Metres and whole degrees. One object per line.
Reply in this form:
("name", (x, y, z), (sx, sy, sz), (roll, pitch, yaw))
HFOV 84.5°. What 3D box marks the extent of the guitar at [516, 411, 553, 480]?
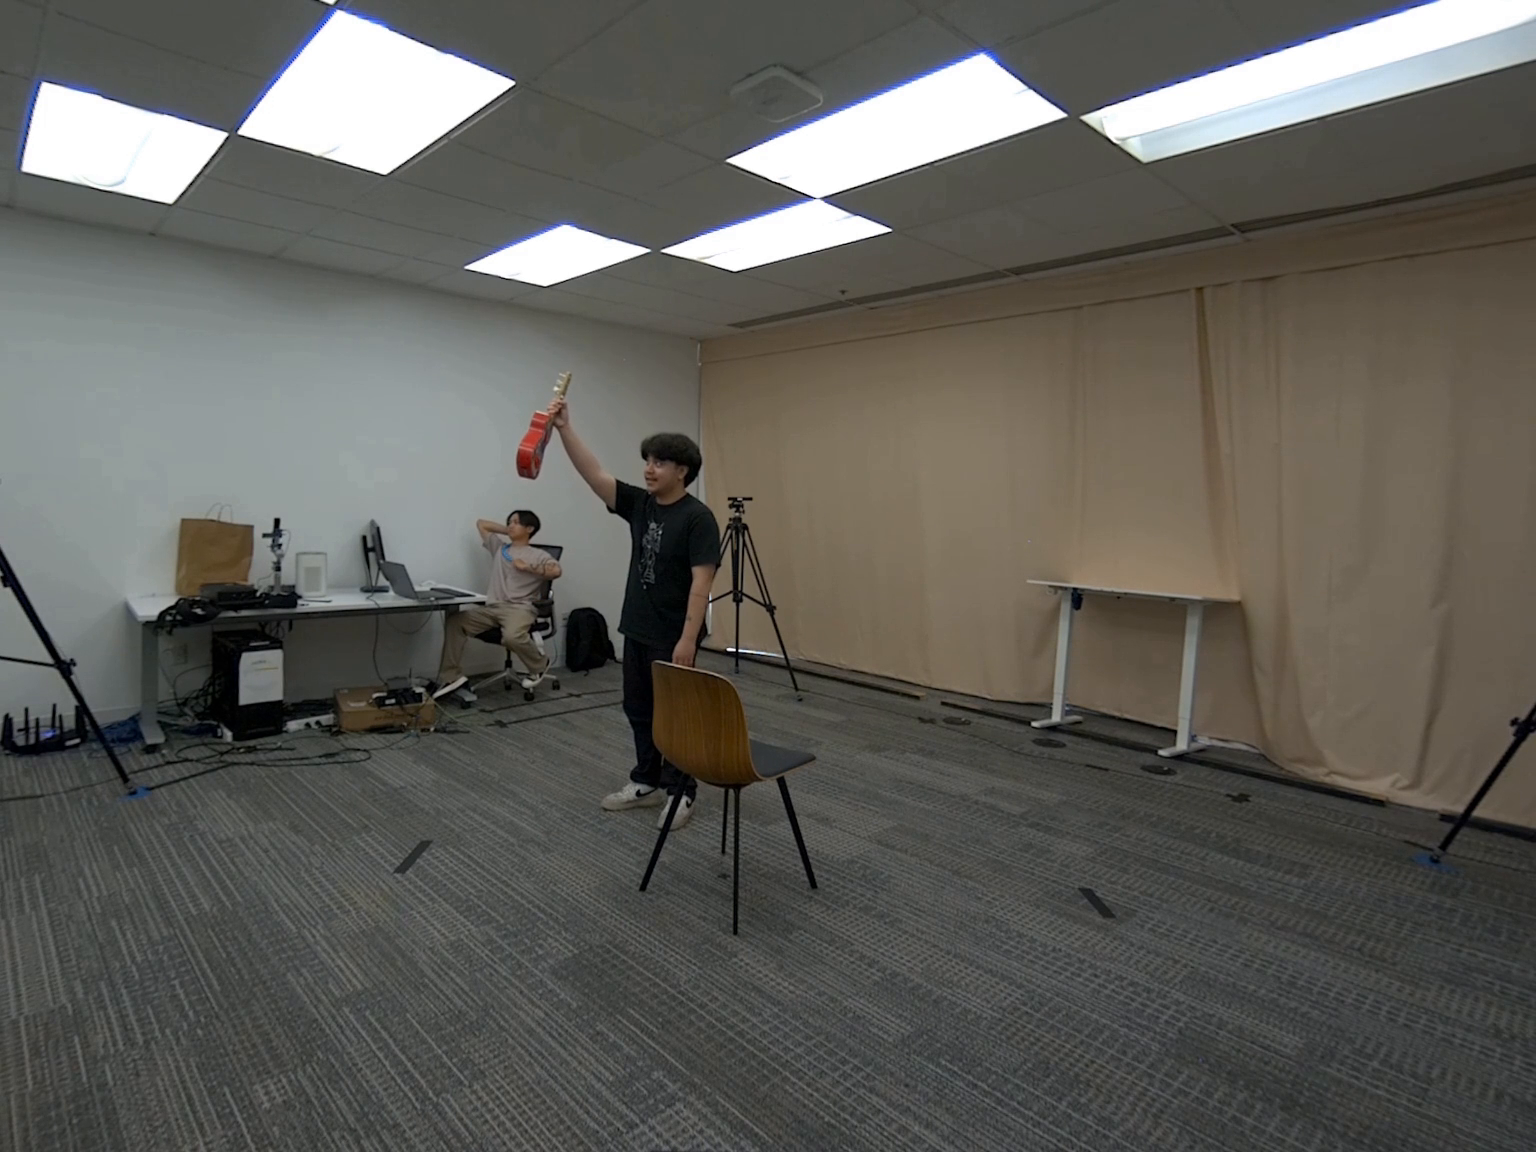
("guitar", (-0.916, -0.614, 3.439), (0.071, 0.505, 0.190), (14, -34, -1))
